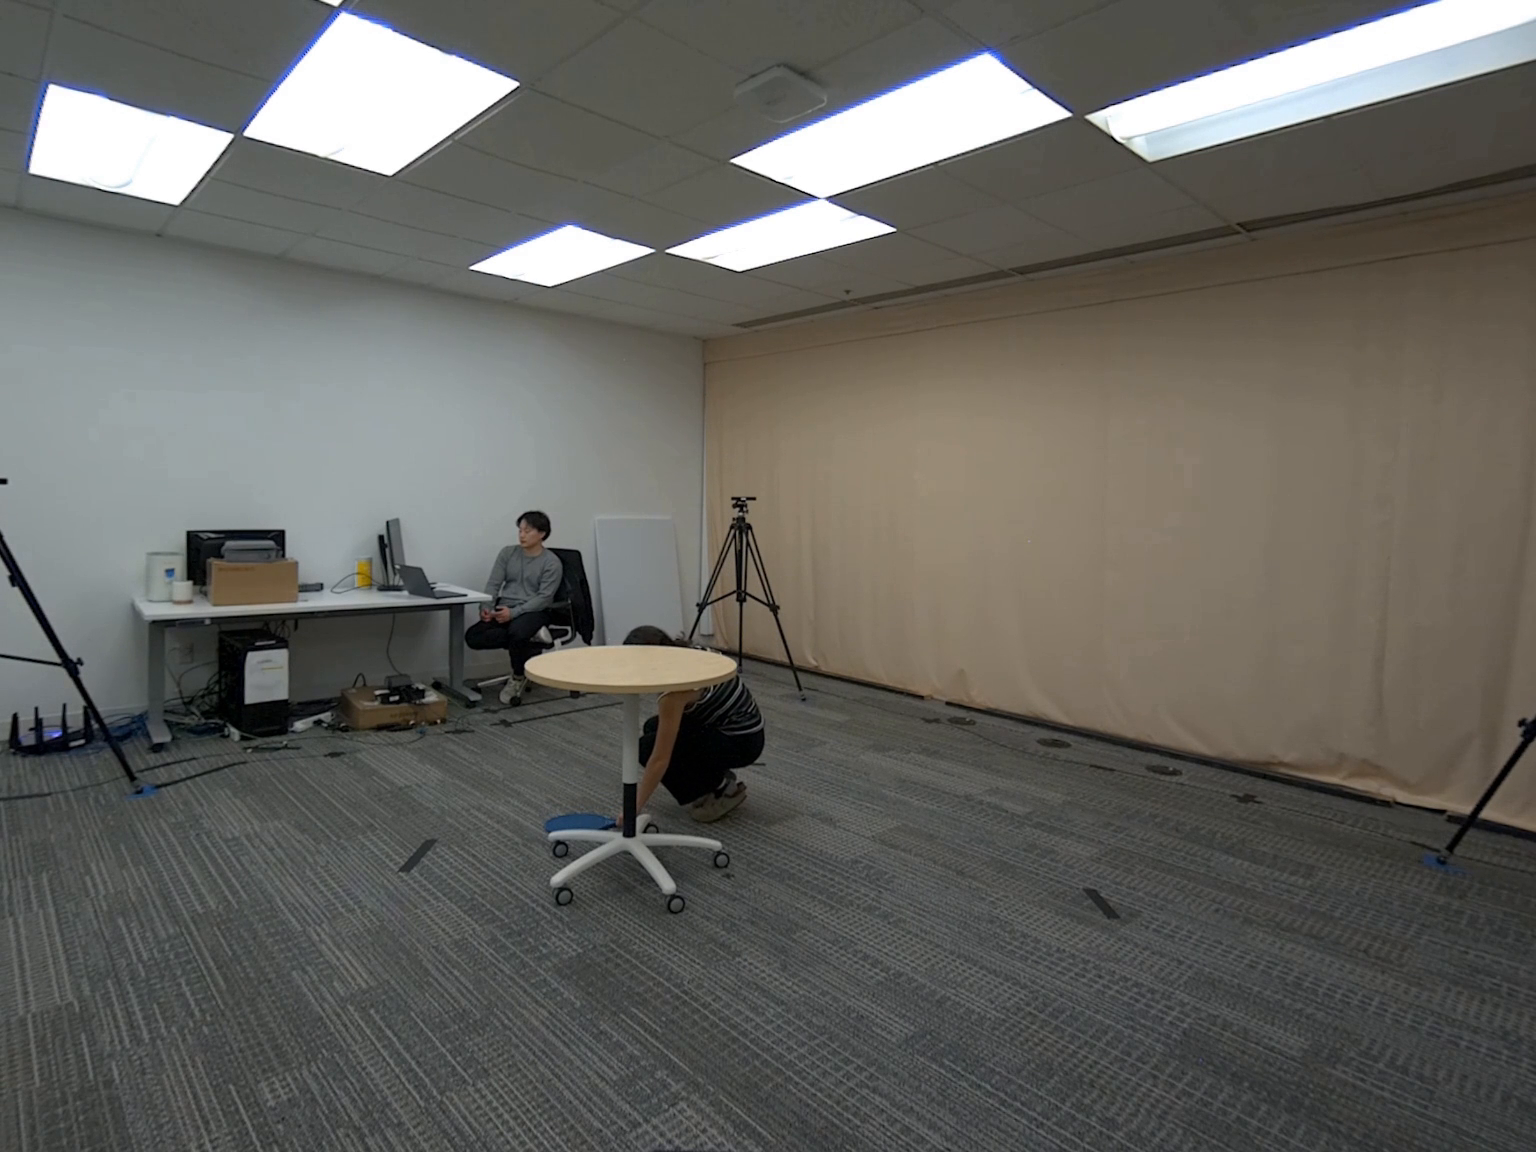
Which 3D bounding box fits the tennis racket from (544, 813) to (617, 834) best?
[{"bbox_3d":[-0.716,1.022,3.519,0.431,0.031,0.215,0,5,-5],"label":"tennis racket"}]
